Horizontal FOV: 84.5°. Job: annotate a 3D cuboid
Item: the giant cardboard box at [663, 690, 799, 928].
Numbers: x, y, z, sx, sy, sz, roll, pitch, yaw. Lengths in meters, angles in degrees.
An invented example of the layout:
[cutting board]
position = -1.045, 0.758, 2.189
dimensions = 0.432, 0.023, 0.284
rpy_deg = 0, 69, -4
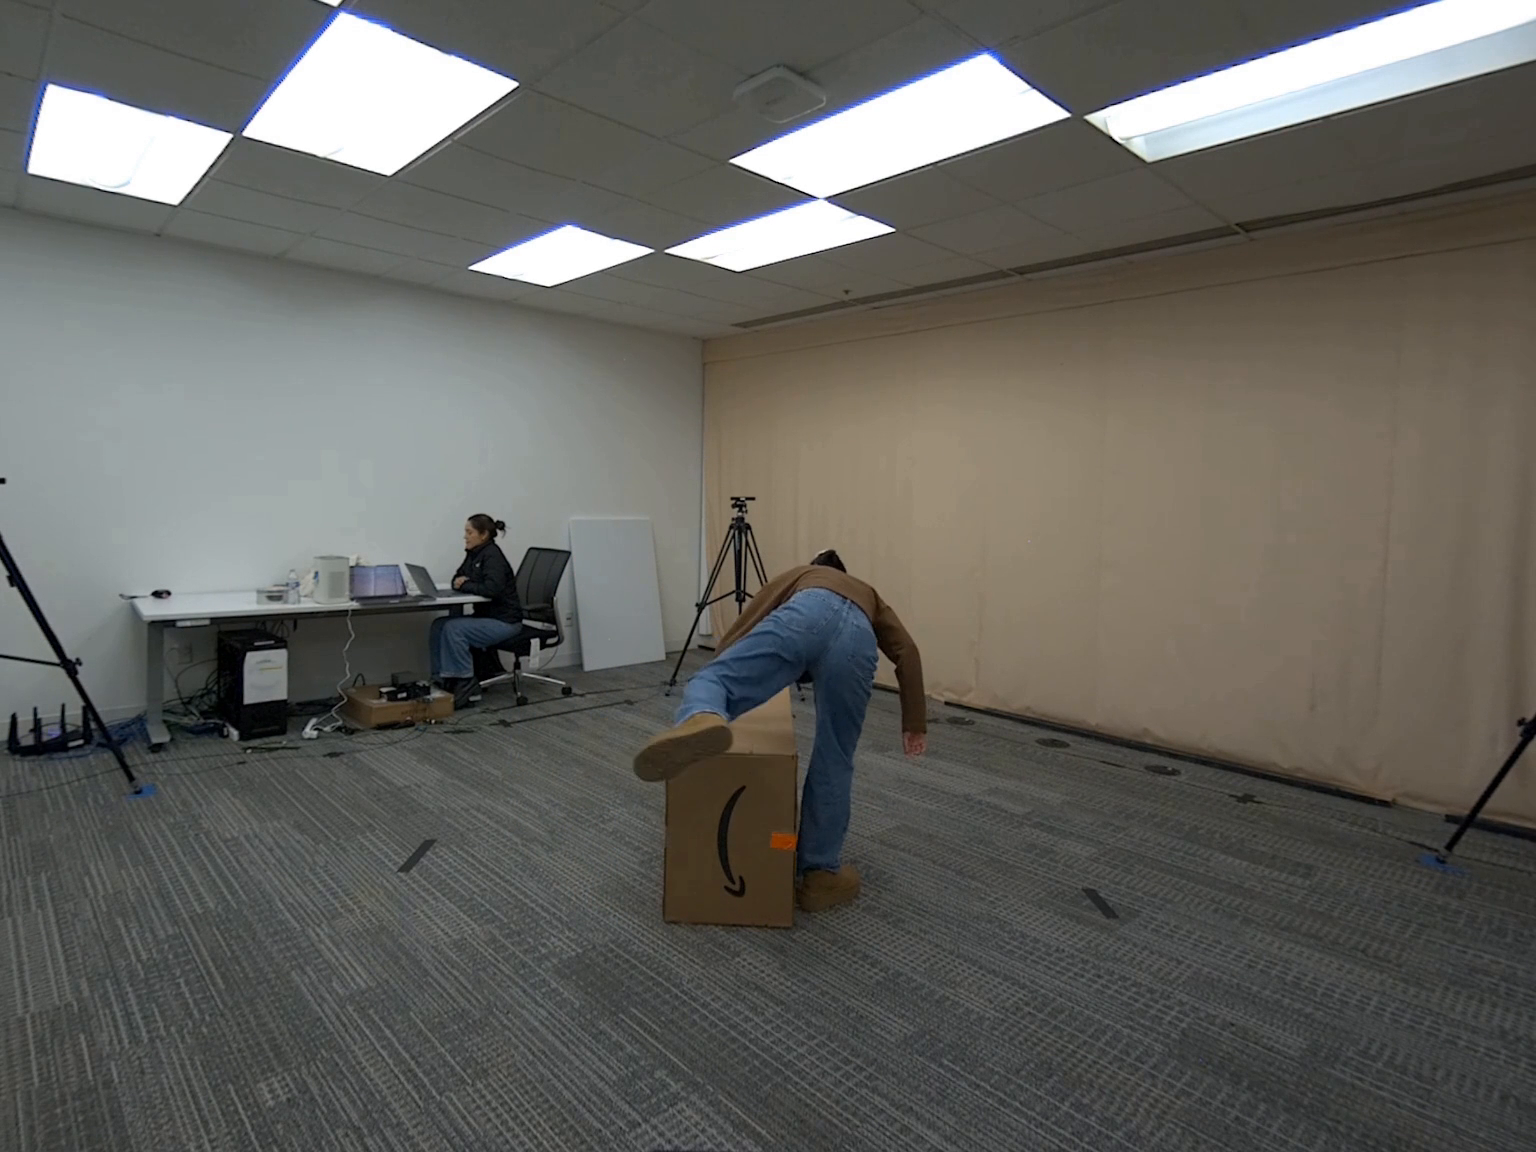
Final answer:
[giant cardboard box]
position = -0.122, 0.811, 3.234
dimensions = 0.447, 0.582, 1.028
rpy_deg = 0, 5, 1
